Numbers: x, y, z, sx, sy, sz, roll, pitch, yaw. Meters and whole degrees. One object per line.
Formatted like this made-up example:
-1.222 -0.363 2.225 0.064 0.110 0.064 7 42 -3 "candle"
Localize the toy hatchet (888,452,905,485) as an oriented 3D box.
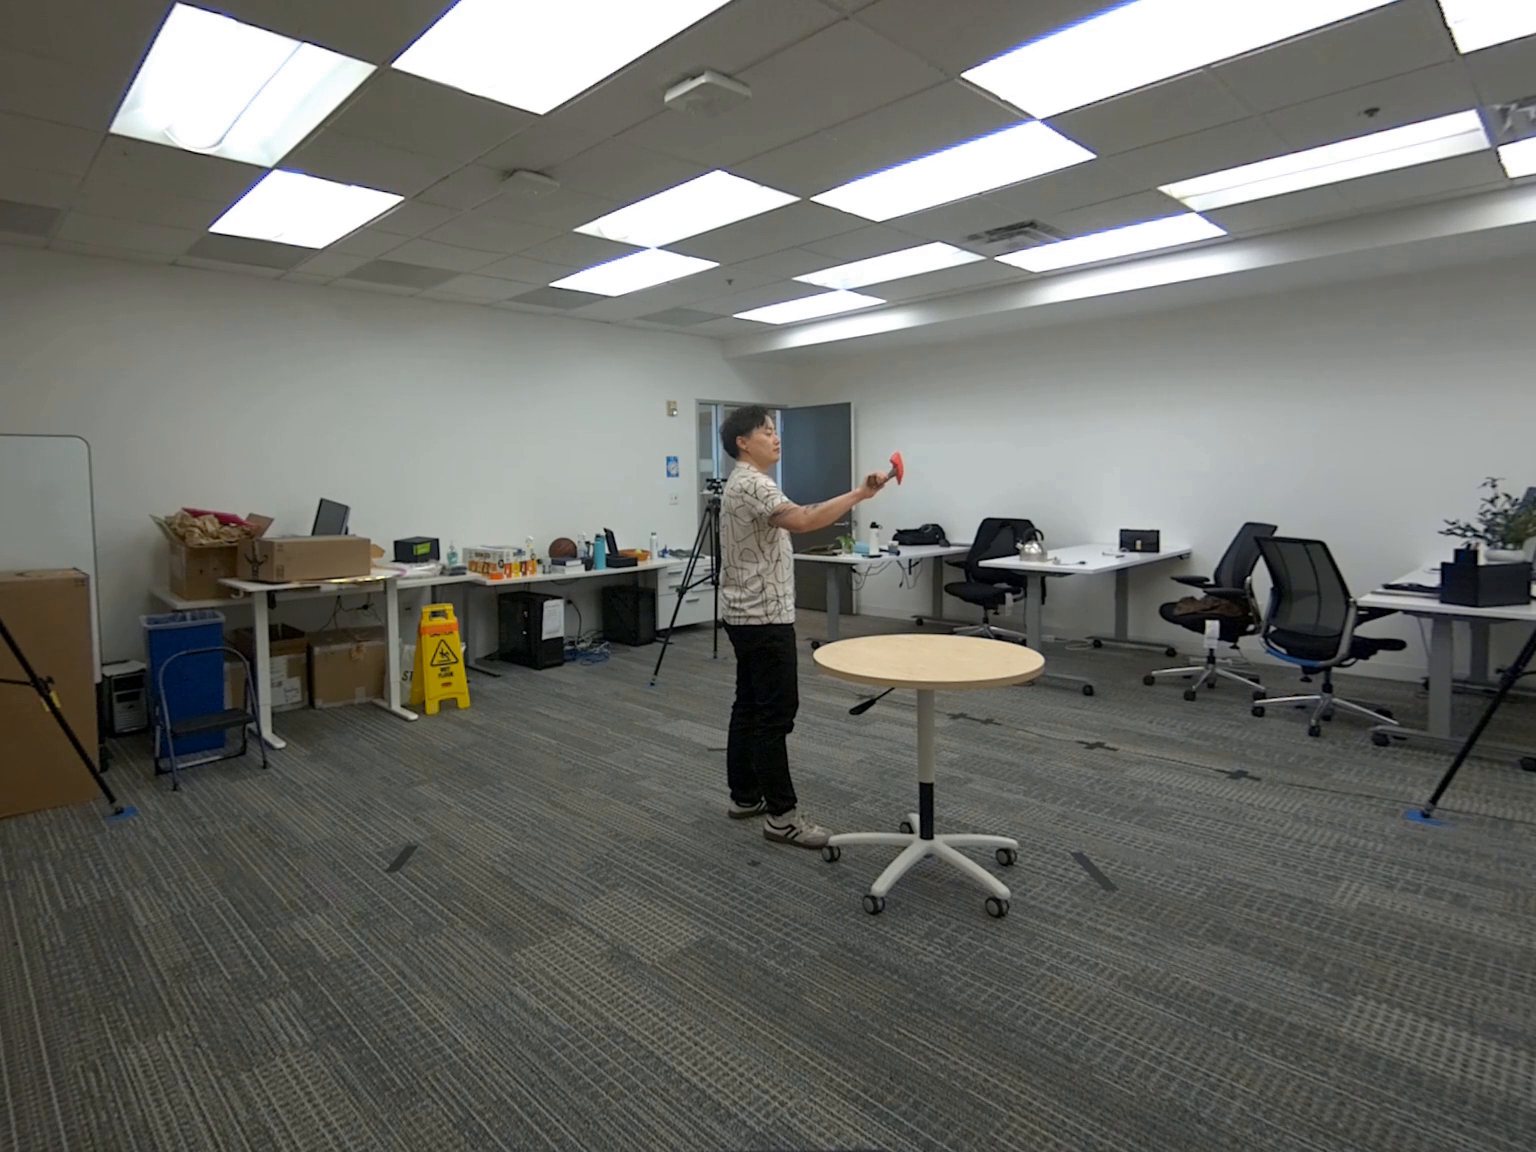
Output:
0.449 -0.404 3.191 0.030 0.130 0.265 6 10 27 "toy hatchet"
